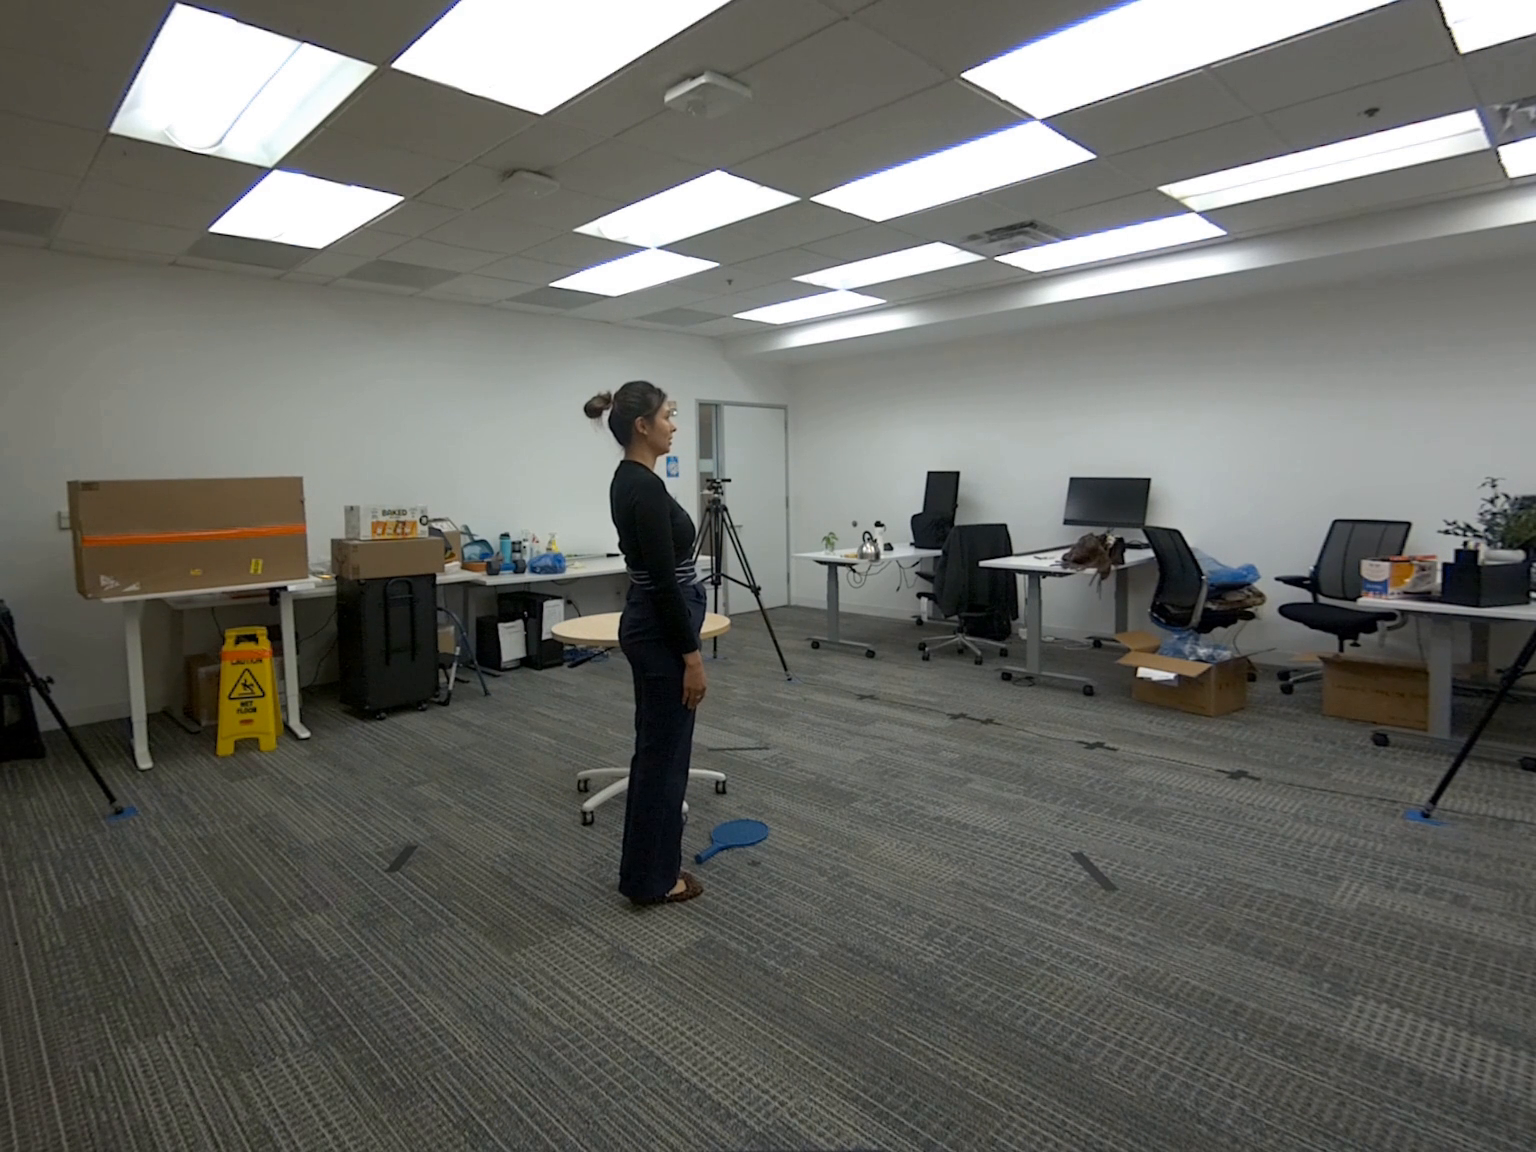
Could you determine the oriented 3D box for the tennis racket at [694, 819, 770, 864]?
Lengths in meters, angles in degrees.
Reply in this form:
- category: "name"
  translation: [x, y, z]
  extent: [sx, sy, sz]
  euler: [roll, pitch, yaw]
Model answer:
- category: "tennis racket"
  translation: [-0.147, 1.009, 3.289]
  extent: [0.219, 0.031, 0.423]
  euler: [2, 5, 28]
